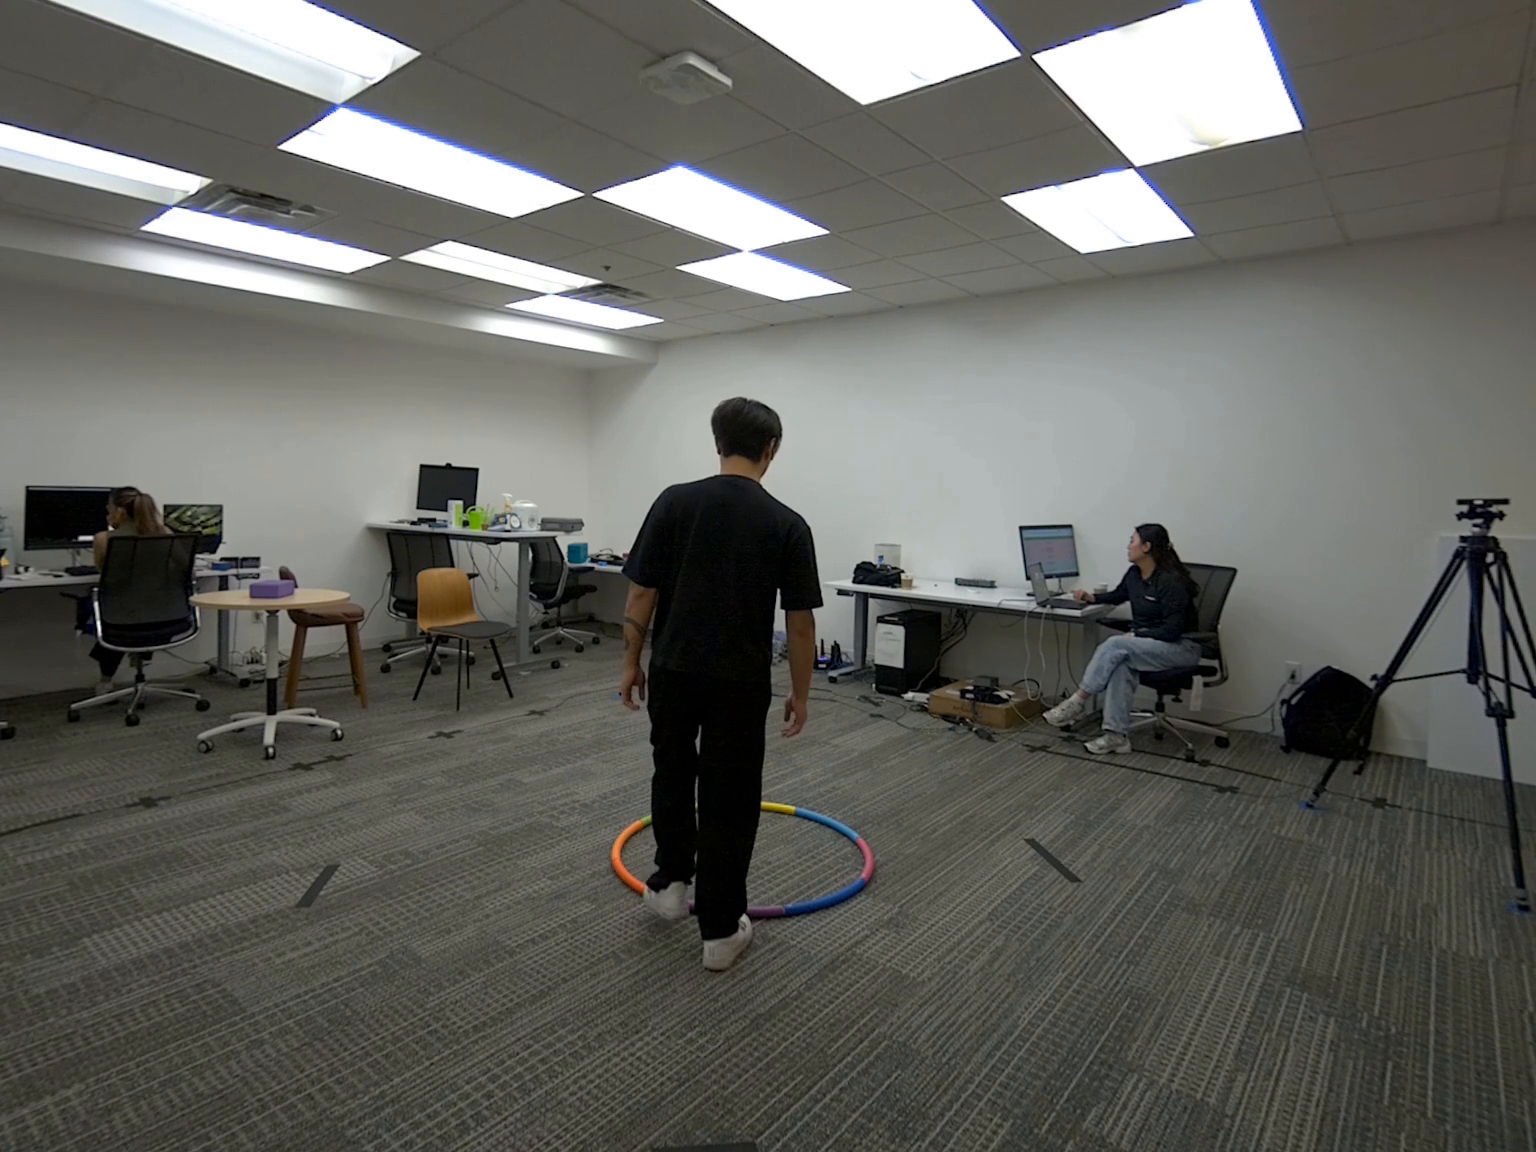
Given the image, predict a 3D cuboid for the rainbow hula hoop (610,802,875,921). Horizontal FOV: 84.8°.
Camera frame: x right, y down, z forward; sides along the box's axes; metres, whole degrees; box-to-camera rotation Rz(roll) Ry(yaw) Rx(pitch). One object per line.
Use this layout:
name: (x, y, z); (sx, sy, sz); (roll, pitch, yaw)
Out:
rainbow hula hoop: (-0.104, 1.032, 3.231); (0.978, 0.035, 0.984); (1, 6, -2)
